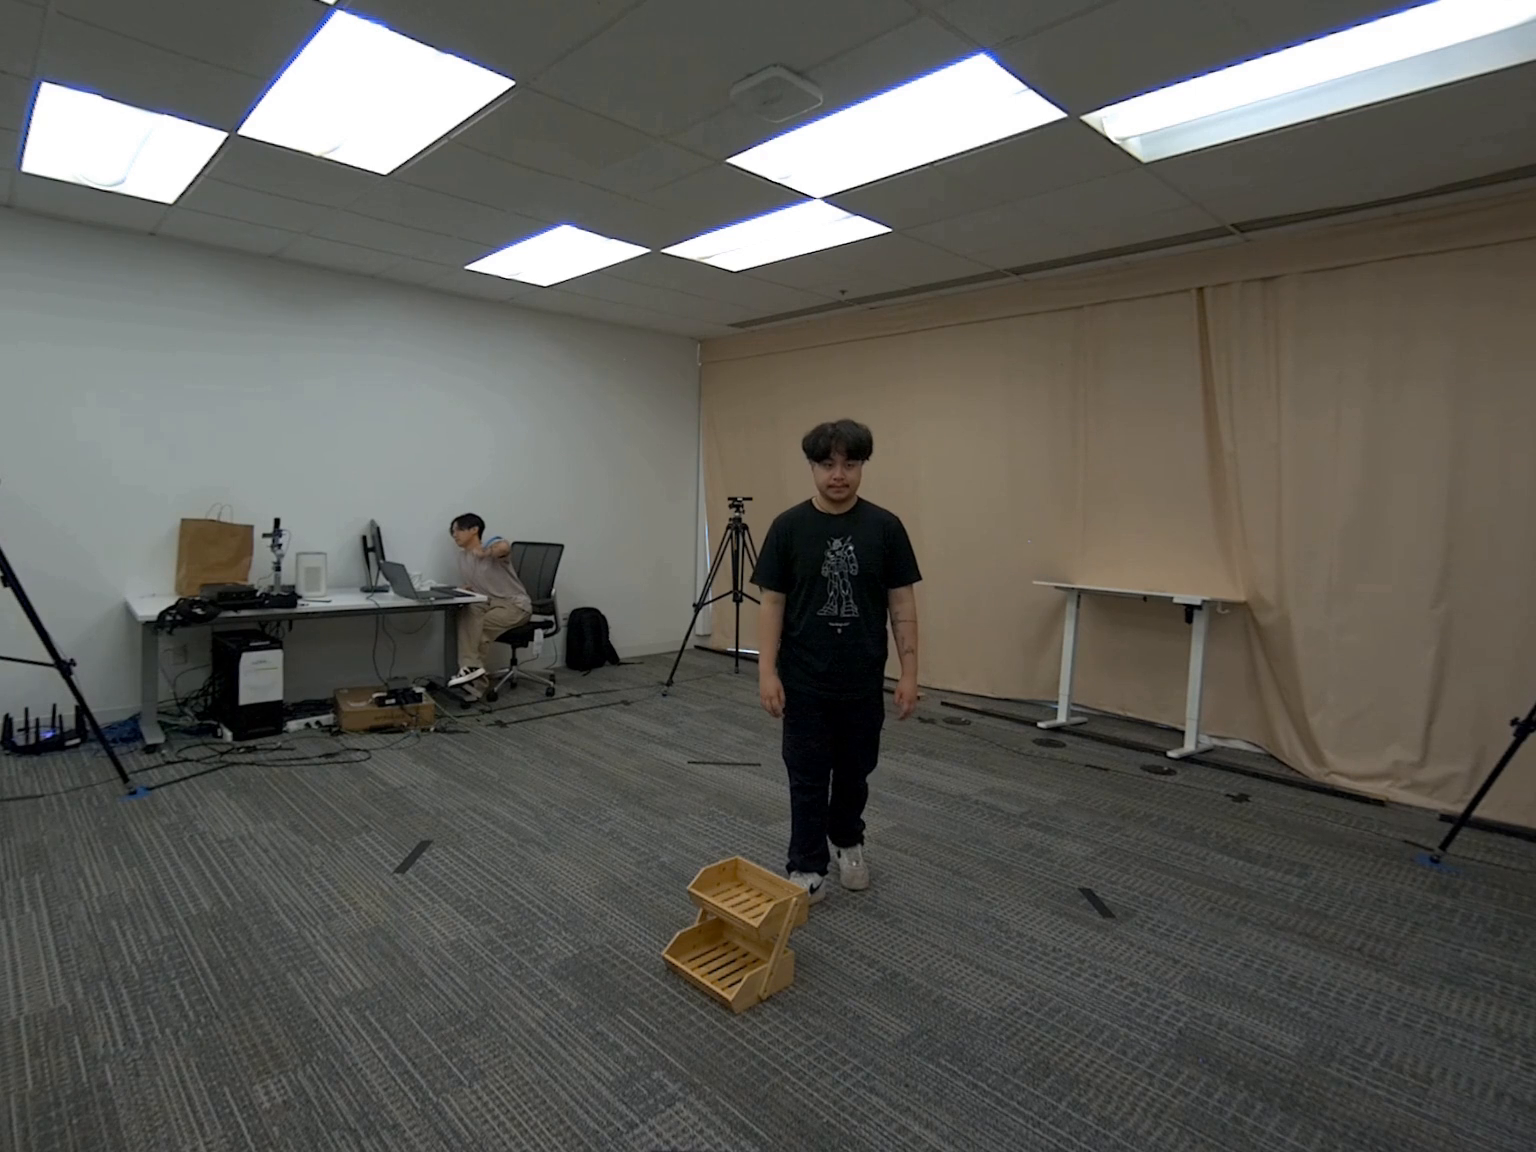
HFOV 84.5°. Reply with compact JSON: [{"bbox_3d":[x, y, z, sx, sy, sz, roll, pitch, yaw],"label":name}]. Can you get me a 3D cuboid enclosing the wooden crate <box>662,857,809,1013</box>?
[{"bbox_3d":[-0.106,1.036,2.456,0.295,0.272,0.333,-2,6,-44],"label":"wooden crate"}]
